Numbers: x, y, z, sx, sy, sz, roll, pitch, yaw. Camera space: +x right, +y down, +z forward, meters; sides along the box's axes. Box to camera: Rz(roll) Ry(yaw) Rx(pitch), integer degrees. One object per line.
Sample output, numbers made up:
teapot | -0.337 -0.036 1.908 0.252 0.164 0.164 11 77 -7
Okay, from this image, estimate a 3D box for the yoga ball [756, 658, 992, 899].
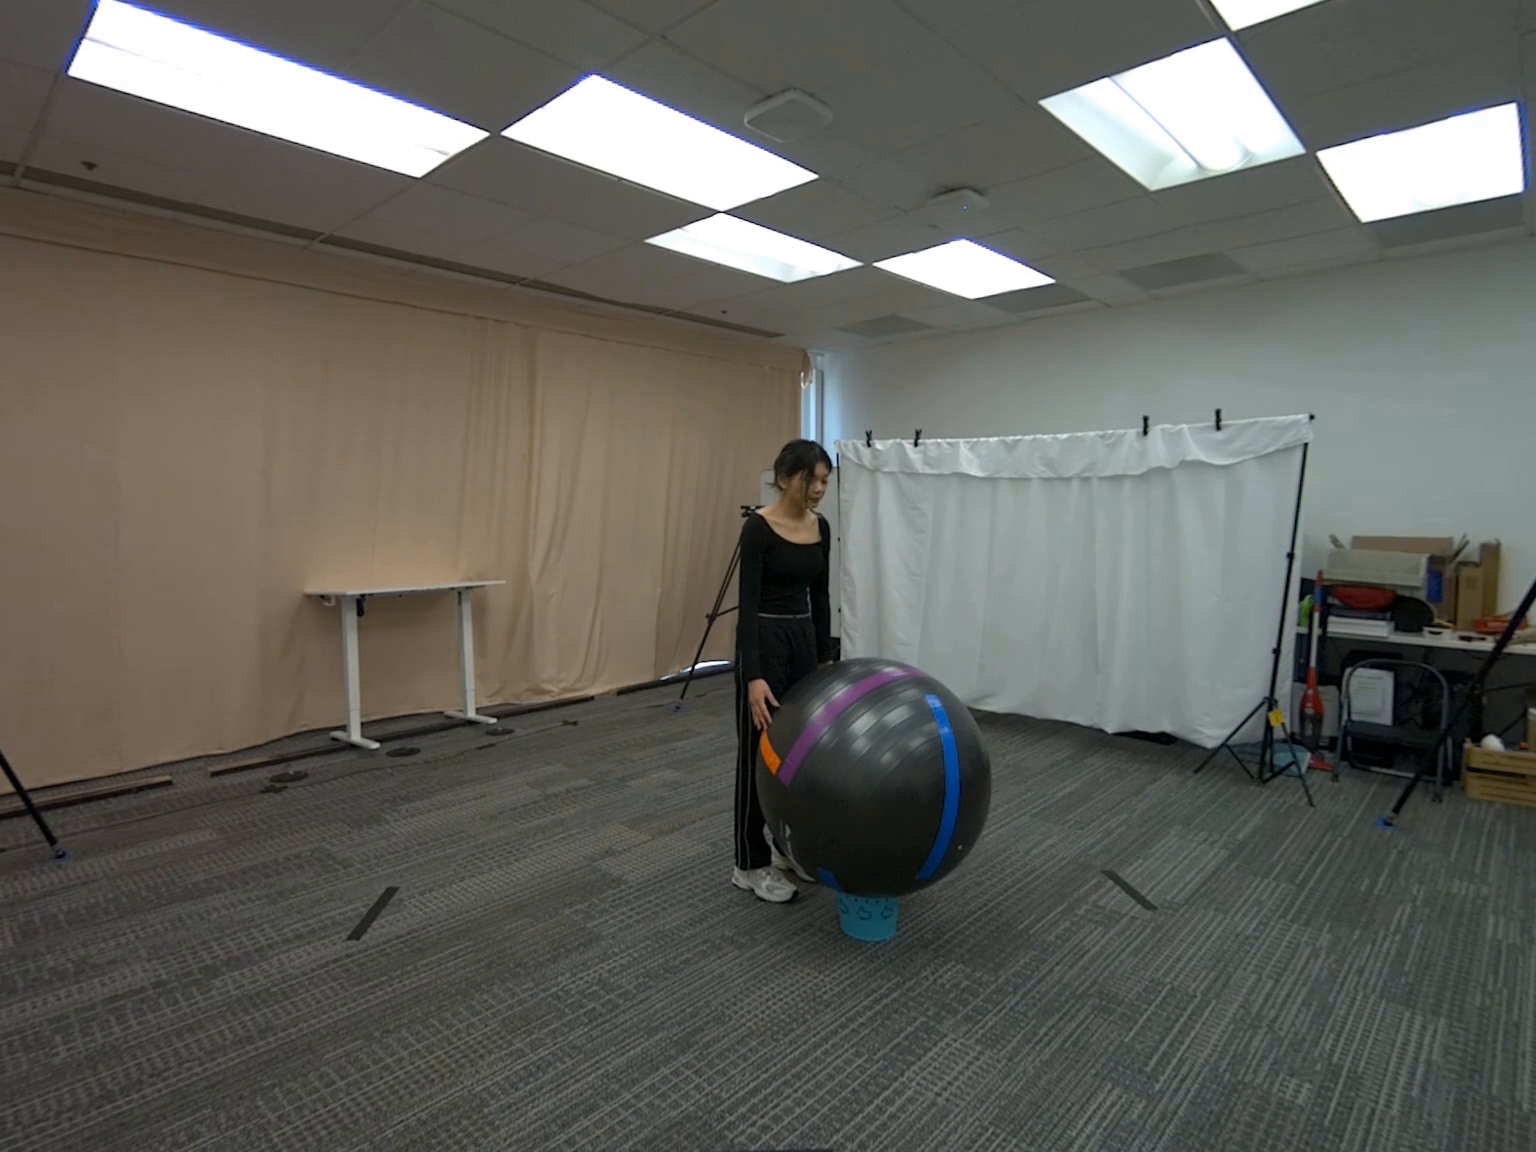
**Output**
yoga ball | 0.341 0.655 2.766 0.757 0.756 0.760 0 4 -2
